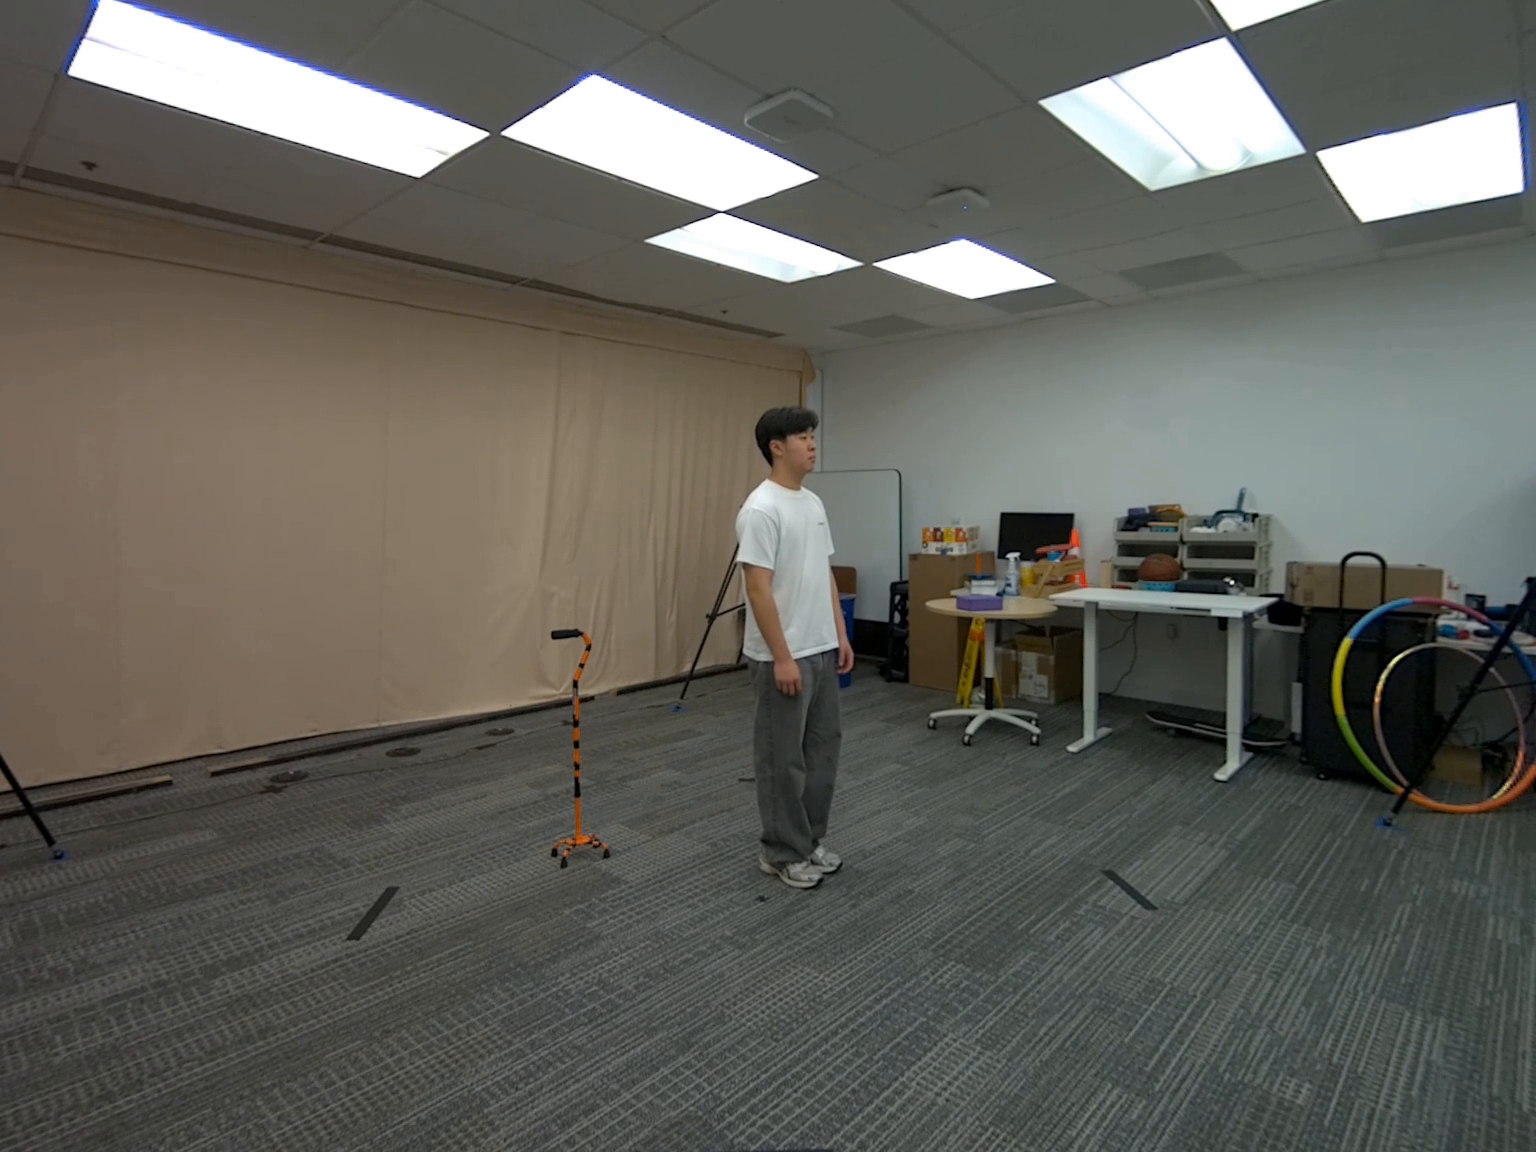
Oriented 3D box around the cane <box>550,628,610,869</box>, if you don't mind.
[{"bbox_3d":[-0.751,0.675,3.349,0.201,0.906,0.156,-1,3,-29],"label":"cane"}]
